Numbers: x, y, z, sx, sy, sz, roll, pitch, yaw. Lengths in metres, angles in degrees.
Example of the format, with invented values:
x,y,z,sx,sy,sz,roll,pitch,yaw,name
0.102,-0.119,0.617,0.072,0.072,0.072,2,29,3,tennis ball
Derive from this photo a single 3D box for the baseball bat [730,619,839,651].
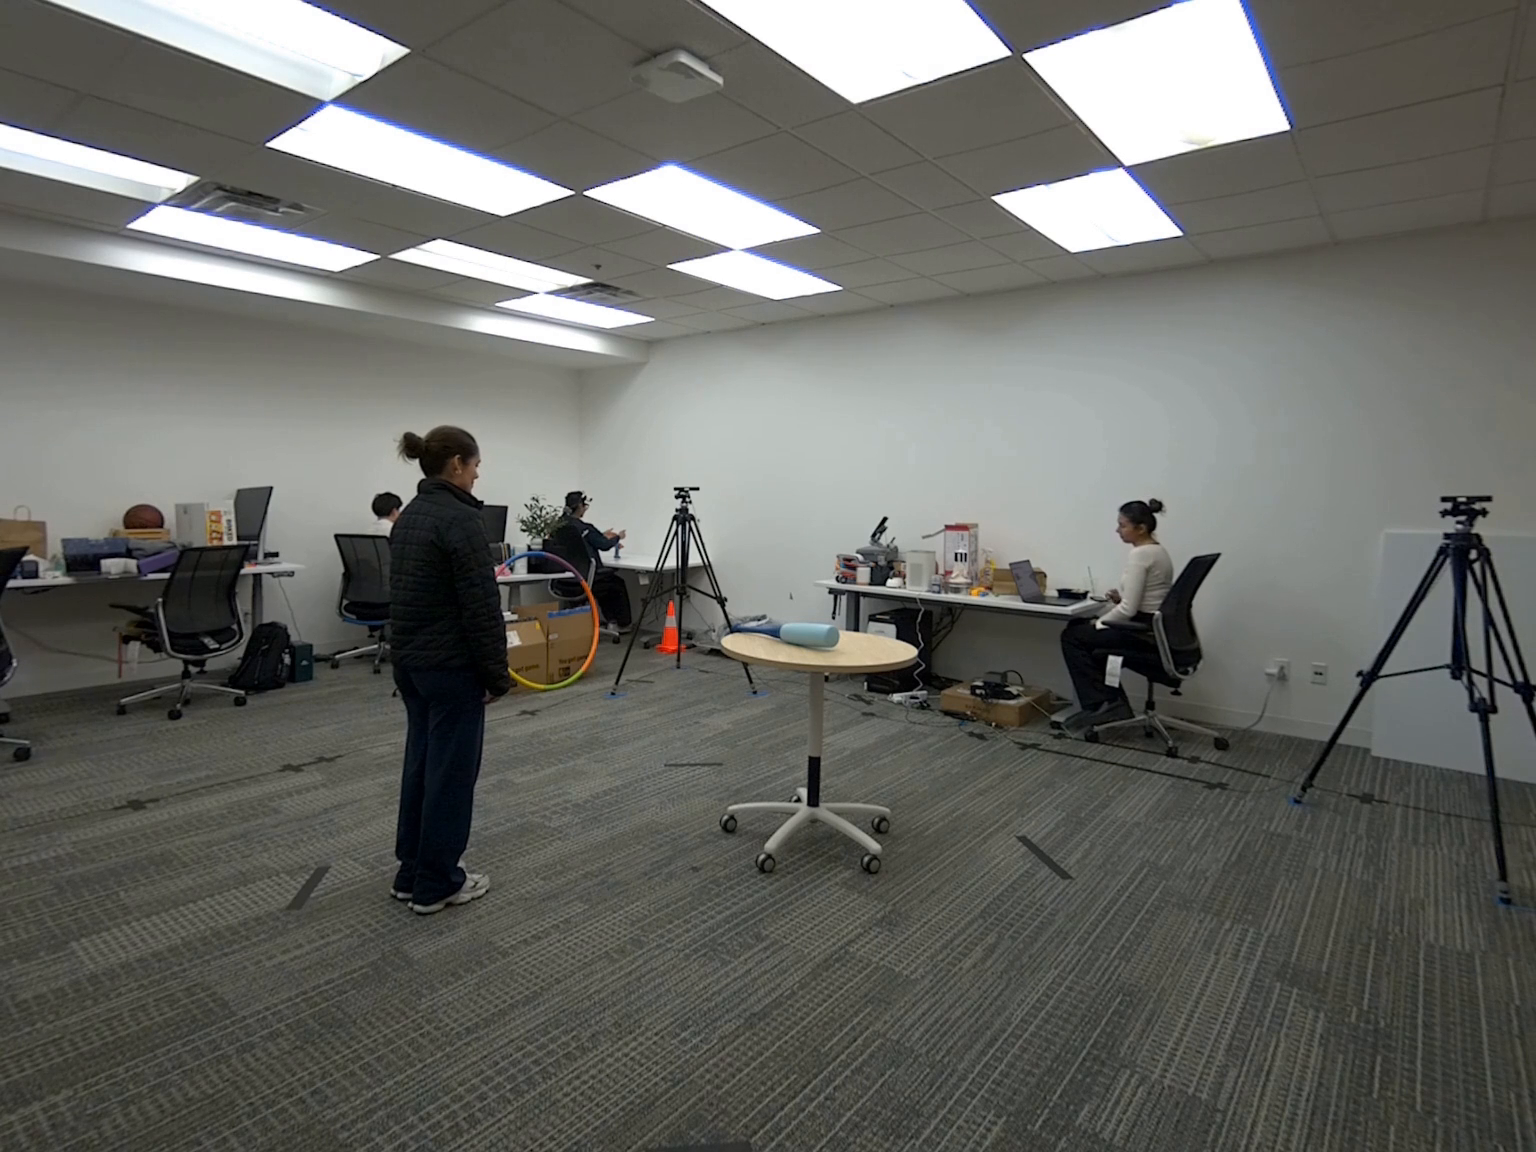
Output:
x,y,z,sx,sy,sz,roll,pitch,yaw,name
0.066,0.226,3.393,0.086,0.089,0.560,-3,3,-44,baseball bat
